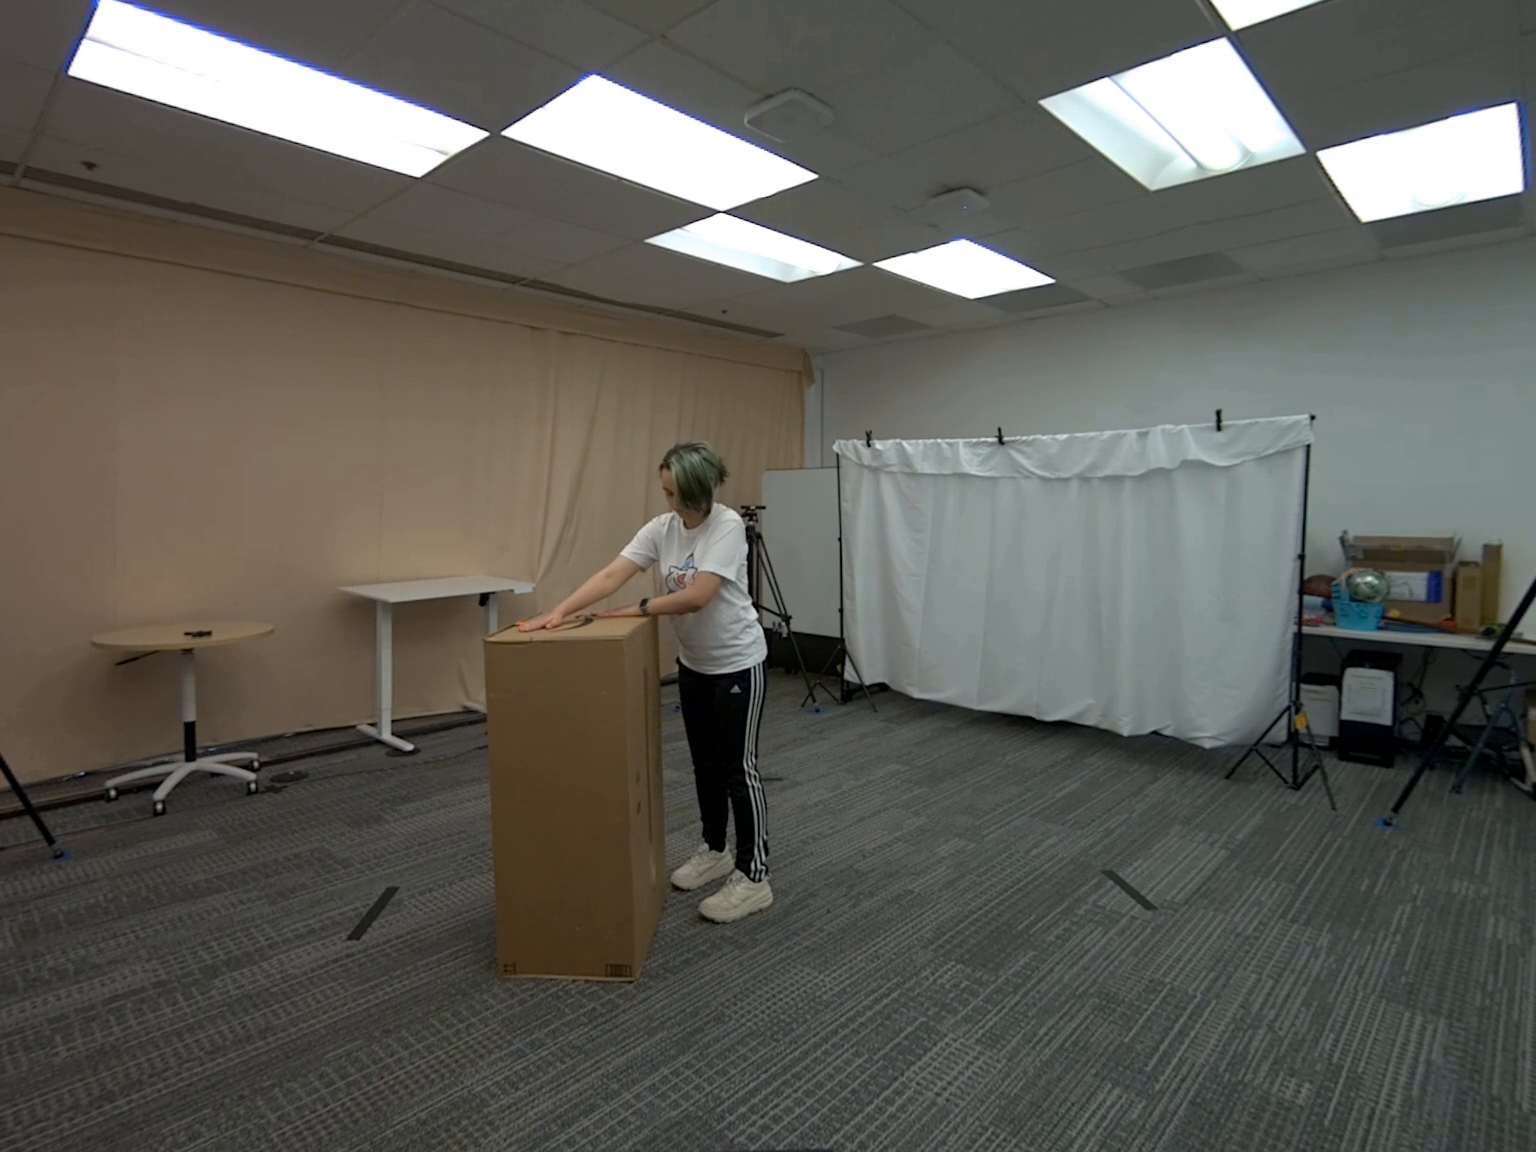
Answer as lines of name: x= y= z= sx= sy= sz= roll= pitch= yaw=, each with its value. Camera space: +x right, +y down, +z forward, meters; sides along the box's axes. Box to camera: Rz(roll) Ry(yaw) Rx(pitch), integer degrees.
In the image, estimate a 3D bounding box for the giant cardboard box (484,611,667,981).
giant cardboard box: x=-0.599 y=0.663 z=2.730 sx=0.449 sy=1.025 sz=0.582 roll=-1 pitch=3 yaw=3
